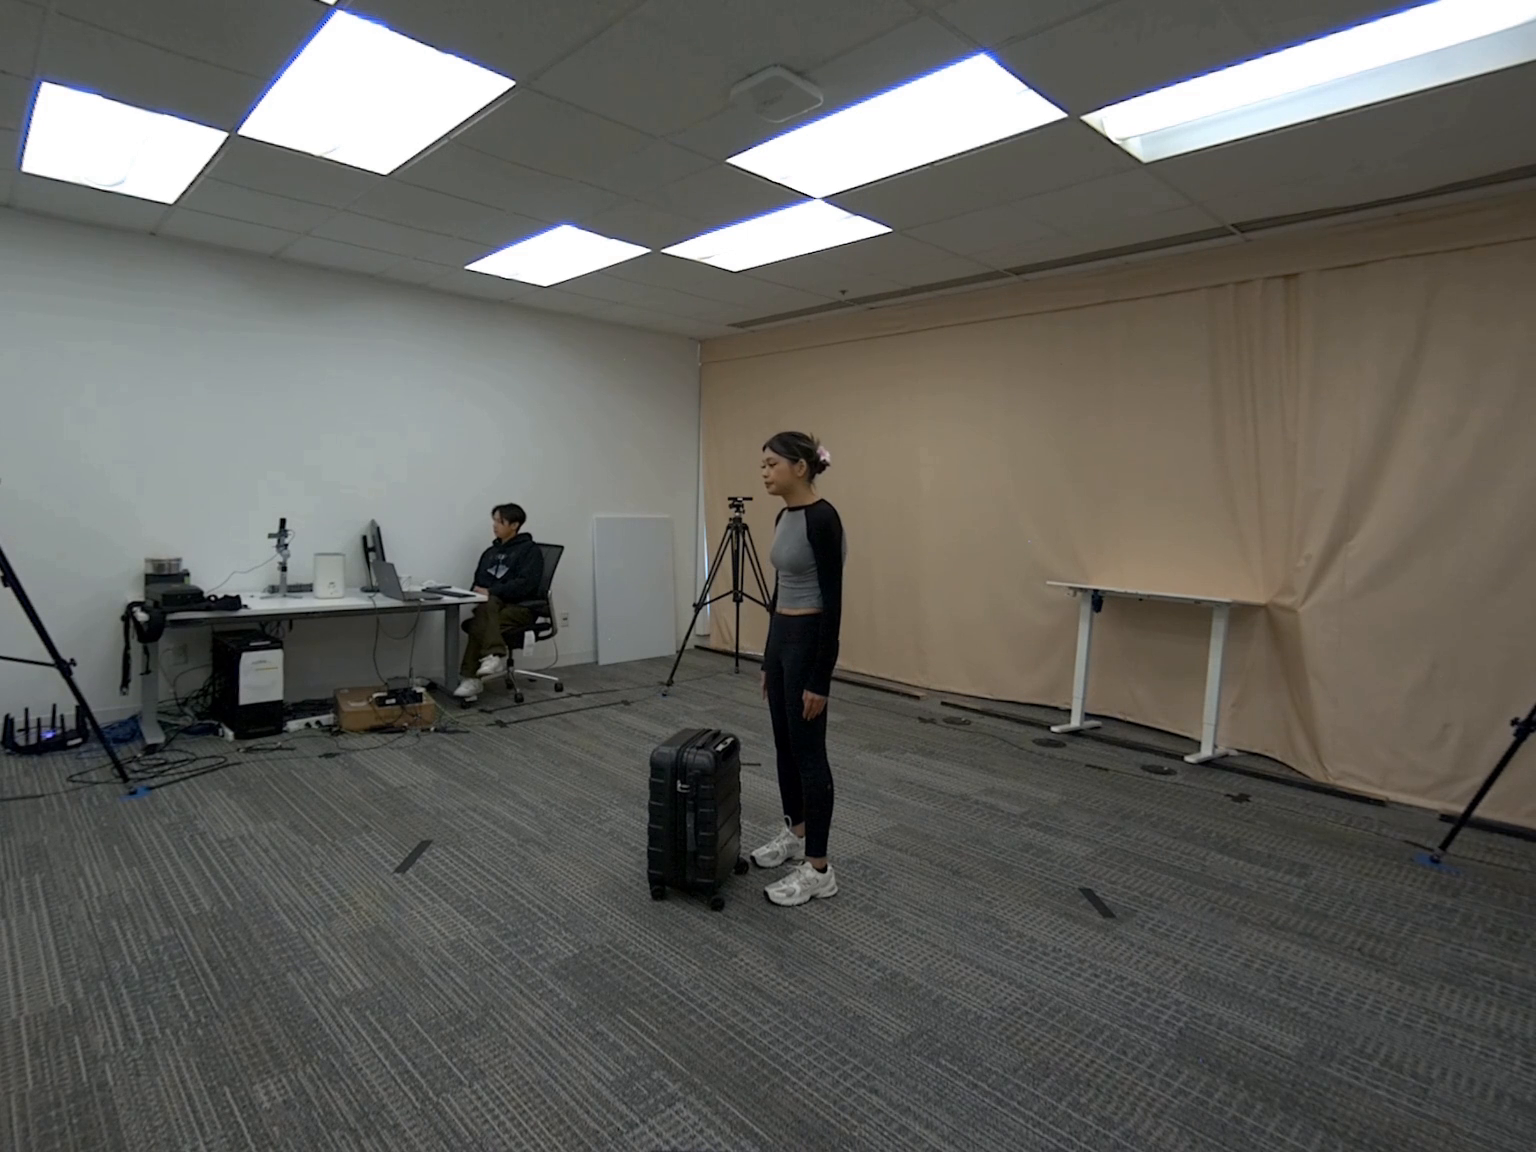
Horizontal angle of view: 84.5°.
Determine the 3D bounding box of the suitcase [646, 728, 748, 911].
[{"bbox_3d":[-0.261,0.837,3.003,0.252,0.548,0.371,1,4,17],"label":"suitcase"}]
